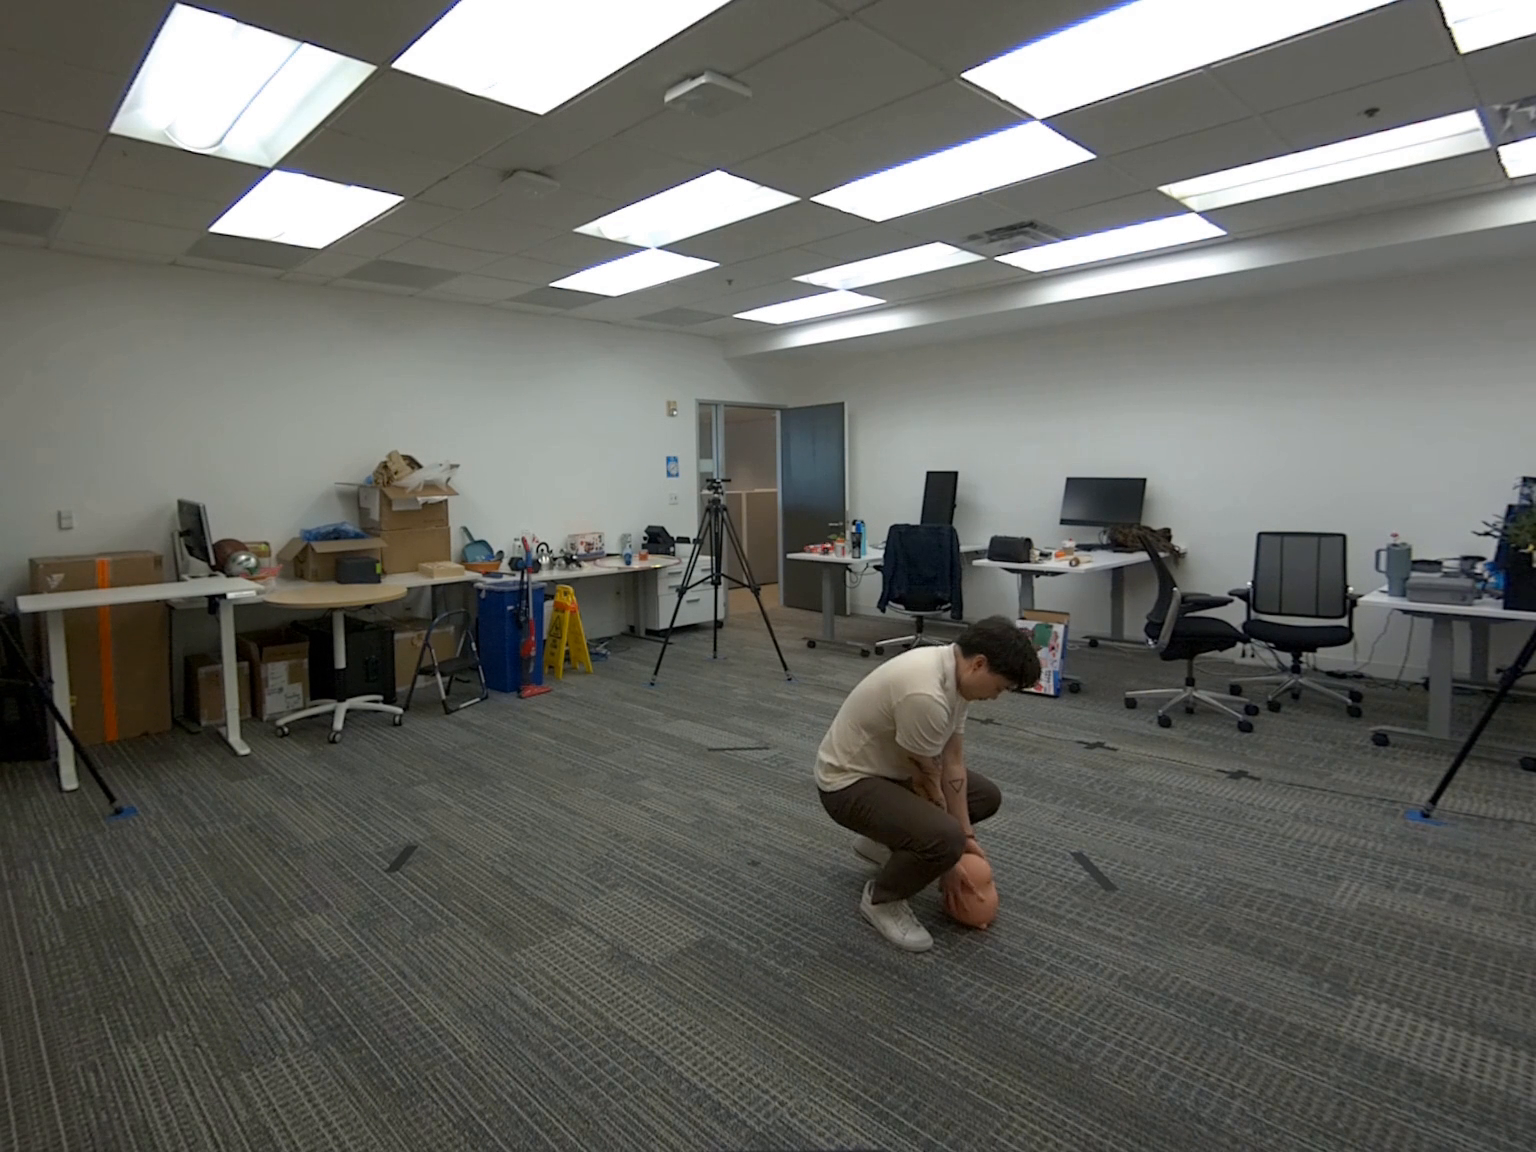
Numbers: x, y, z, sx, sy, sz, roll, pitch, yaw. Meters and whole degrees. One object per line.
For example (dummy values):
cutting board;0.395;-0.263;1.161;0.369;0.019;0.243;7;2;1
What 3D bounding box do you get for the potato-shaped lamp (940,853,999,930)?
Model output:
potato-shaped lamp;0.638;0.977;2.685;0.177;0.197;0.160;8;8;36
